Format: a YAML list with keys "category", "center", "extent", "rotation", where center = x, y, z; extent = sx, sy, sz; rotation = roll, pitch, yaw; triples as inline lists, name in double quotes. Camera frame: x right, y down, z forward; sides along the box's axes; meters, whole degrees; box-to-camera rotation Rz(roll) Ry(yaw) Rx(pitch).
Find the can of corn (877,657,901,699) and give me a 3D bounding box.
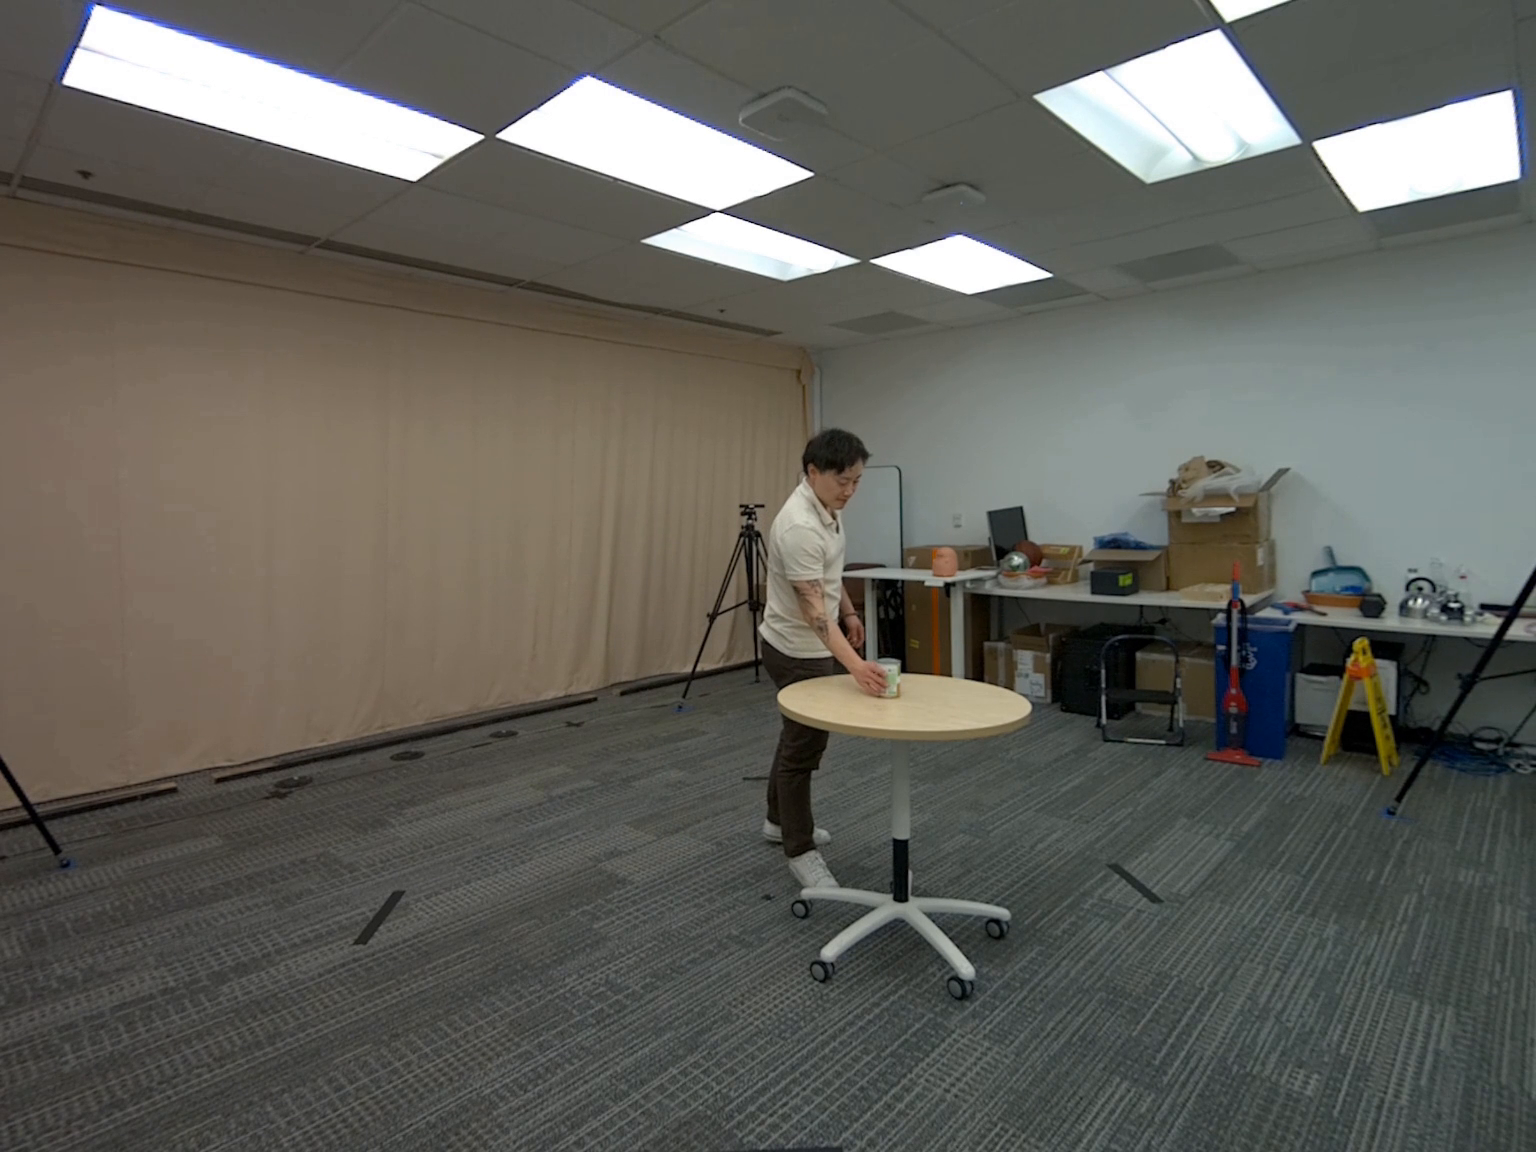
- category: "can of corn"
  center: [0.377, 0.320, 2.639]
  extent: [0.074, 0.111, 0.074]
  rotation: [-4, 5, -2]
